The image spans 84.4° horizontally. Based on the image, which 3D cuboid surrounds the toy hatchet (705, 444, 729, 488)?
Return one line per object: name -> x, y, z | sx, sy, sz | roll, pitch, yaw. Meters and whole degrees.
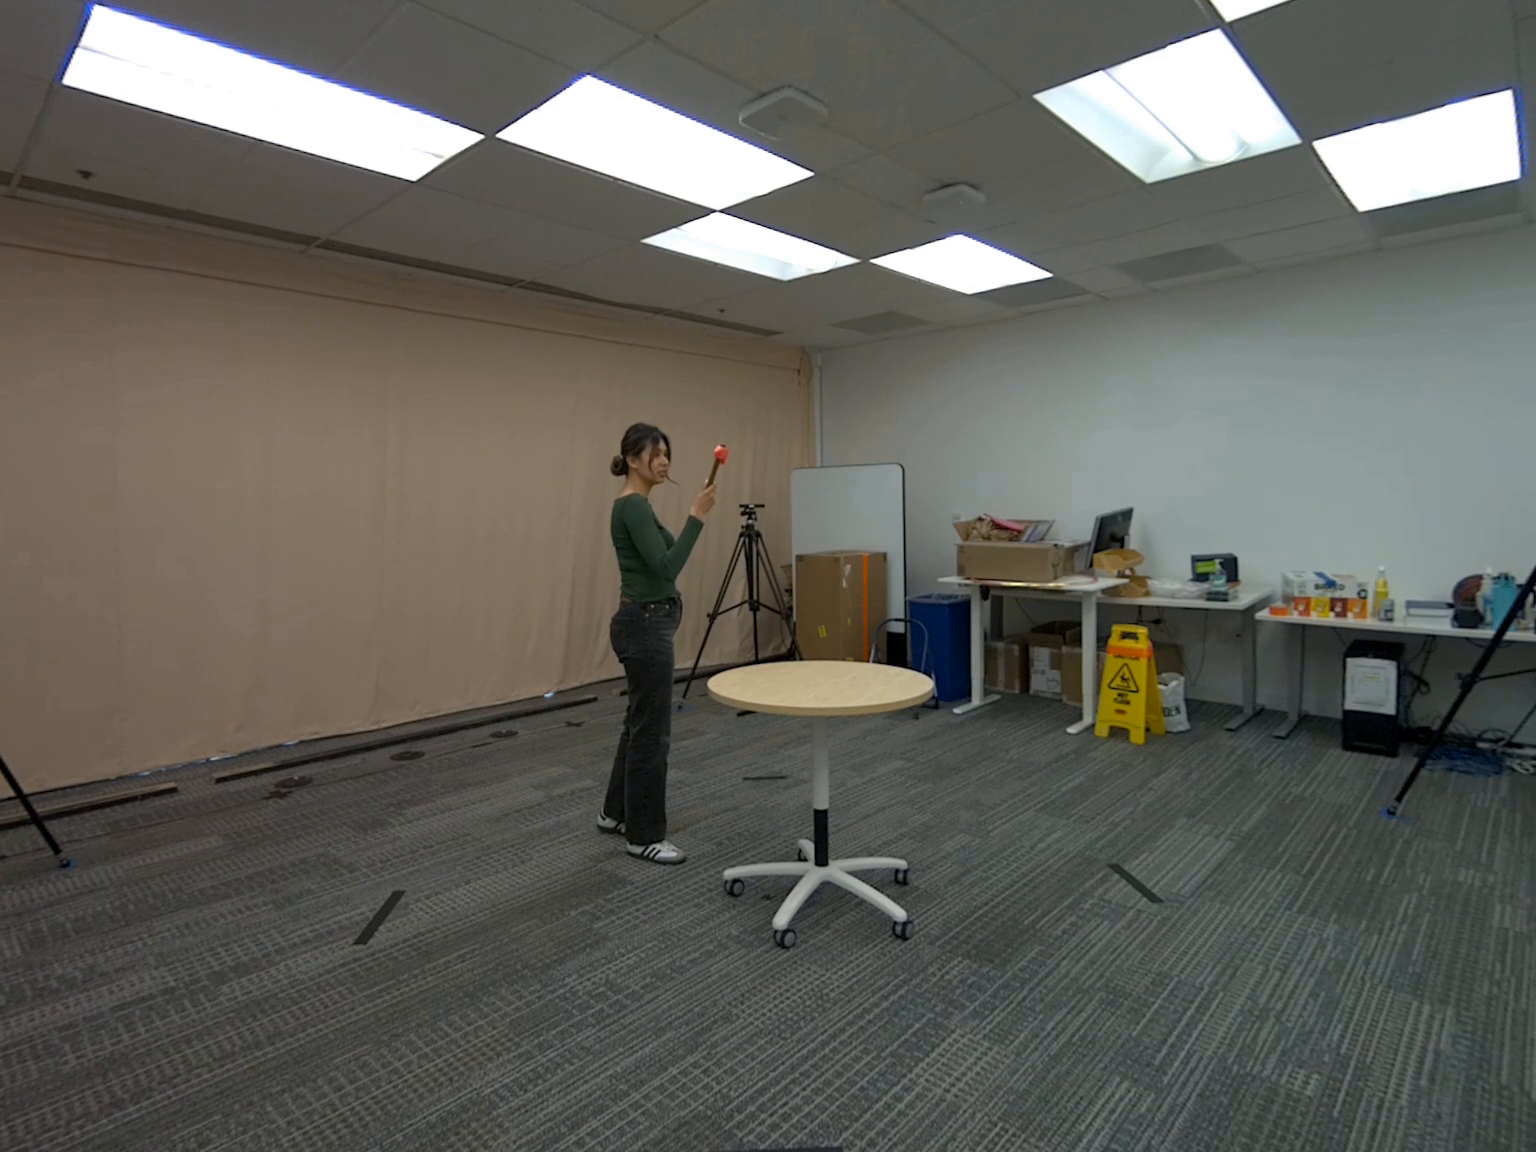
toy hatchet -> -0.201, -0.380, 3.174 | 0.030, 0.268, 0.130 | 24, 31, 8
